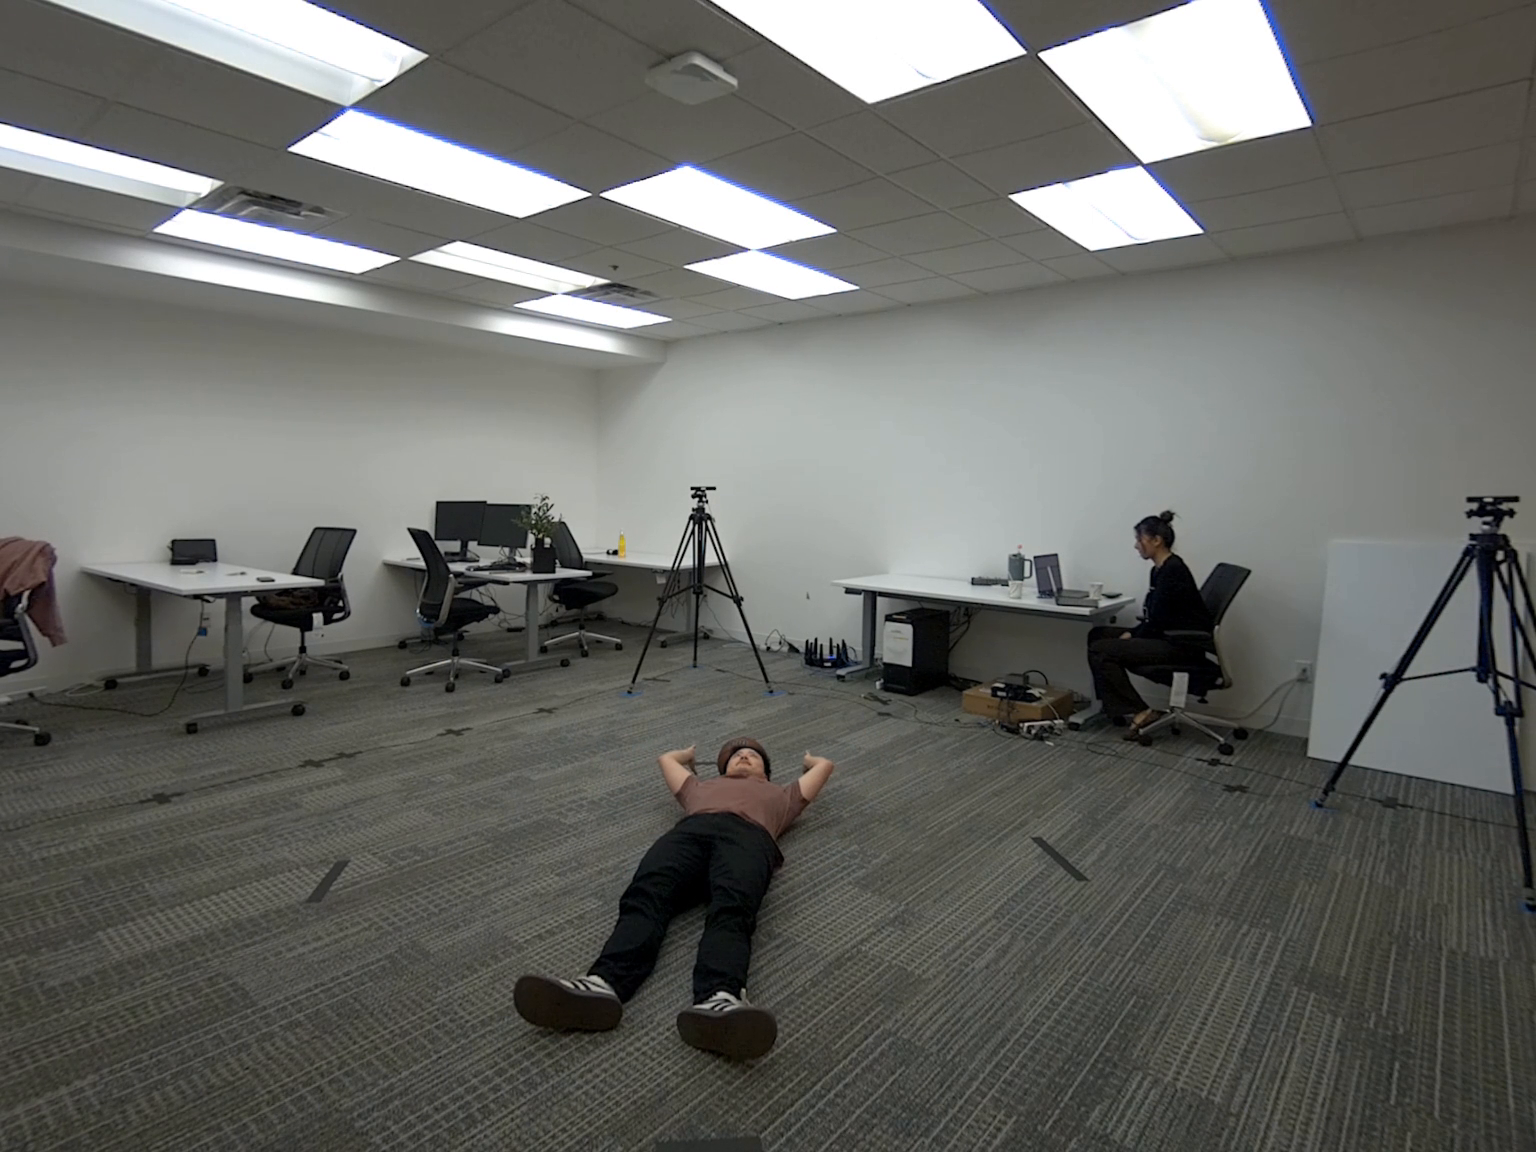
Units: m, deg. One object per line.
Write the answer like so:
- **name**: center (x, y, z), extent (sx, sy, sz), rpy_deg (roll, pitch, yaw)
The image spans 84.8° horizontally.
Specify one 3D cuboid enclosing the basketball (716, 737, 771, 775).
- **basketball**: center (-0.135, 0.857, 3.944), extent (0.236, 0.235, 0.237), rpy_deg (-3, 3, -2)
